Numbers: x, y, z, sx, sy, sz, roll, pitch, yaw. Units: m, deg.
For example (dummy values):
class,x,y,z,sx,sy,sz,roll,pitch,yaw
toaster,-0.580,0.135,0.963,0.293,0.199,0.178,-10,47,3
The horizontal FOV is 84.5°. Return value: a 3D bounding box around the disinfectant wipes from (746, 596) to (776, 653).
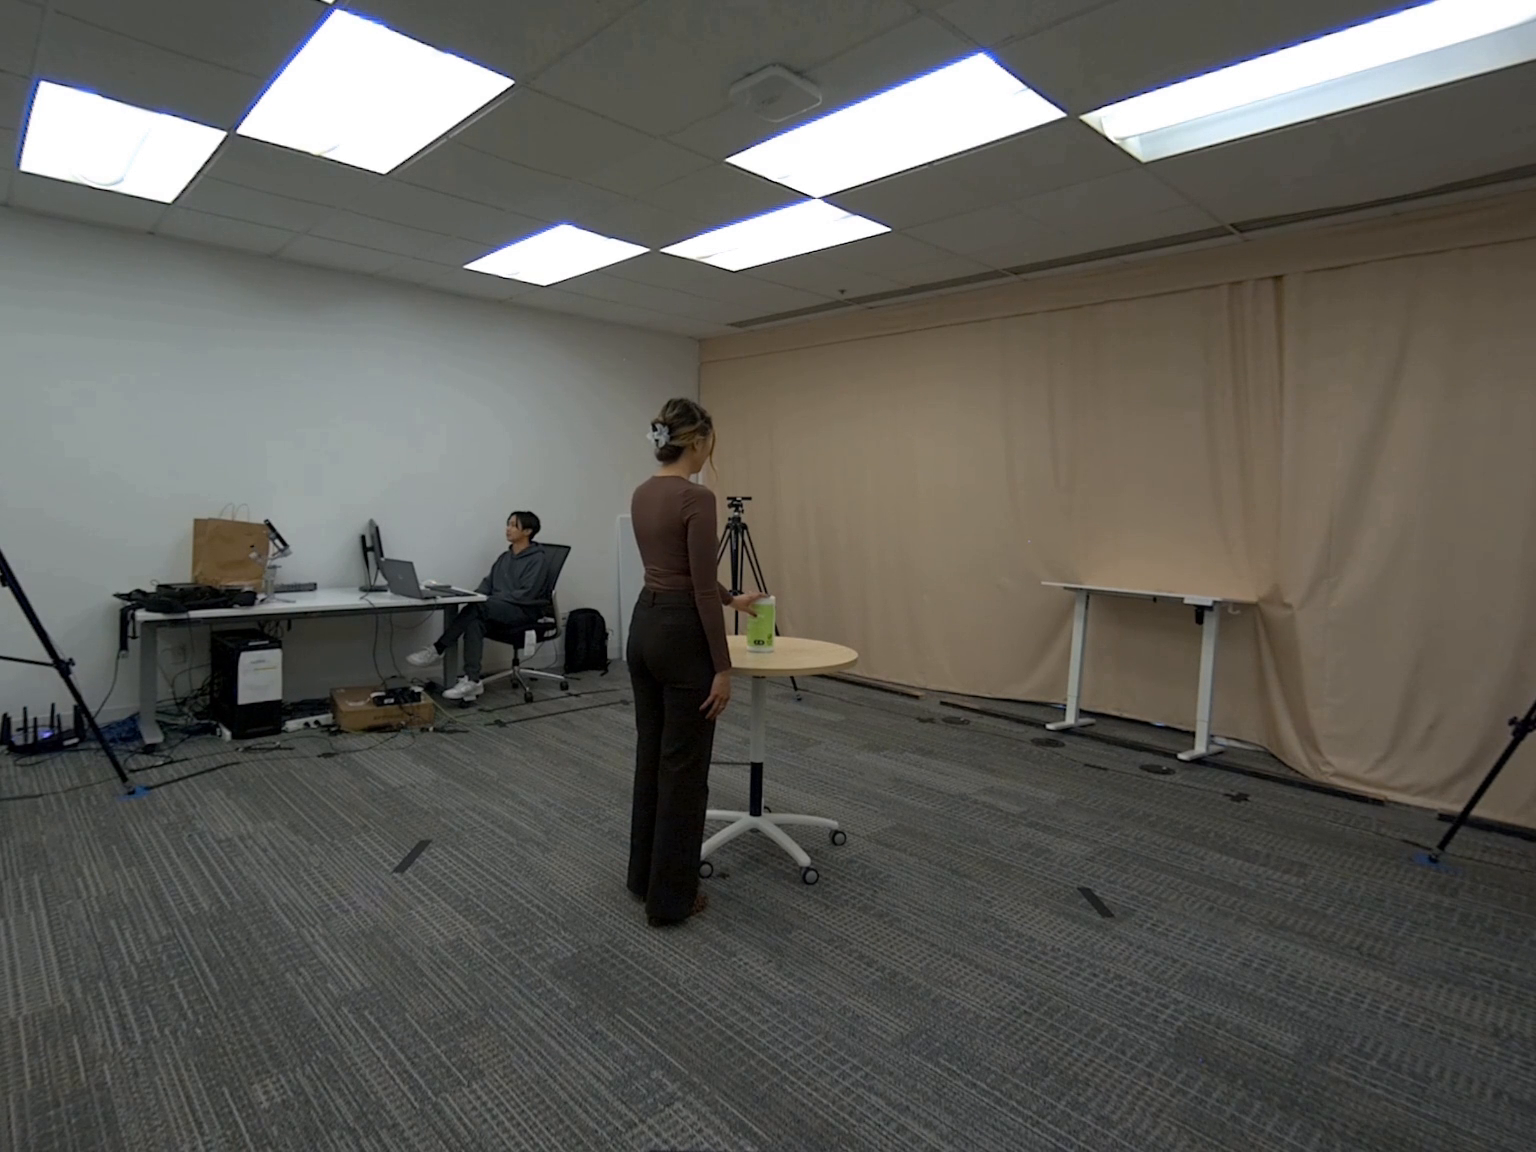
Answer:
class,x,y,z,sx,sy,sz,roll,pitch,yaw
disinfectant wipes,-0.033,0.188,3.304,0.118,0.217,0.118,0,4,-1
